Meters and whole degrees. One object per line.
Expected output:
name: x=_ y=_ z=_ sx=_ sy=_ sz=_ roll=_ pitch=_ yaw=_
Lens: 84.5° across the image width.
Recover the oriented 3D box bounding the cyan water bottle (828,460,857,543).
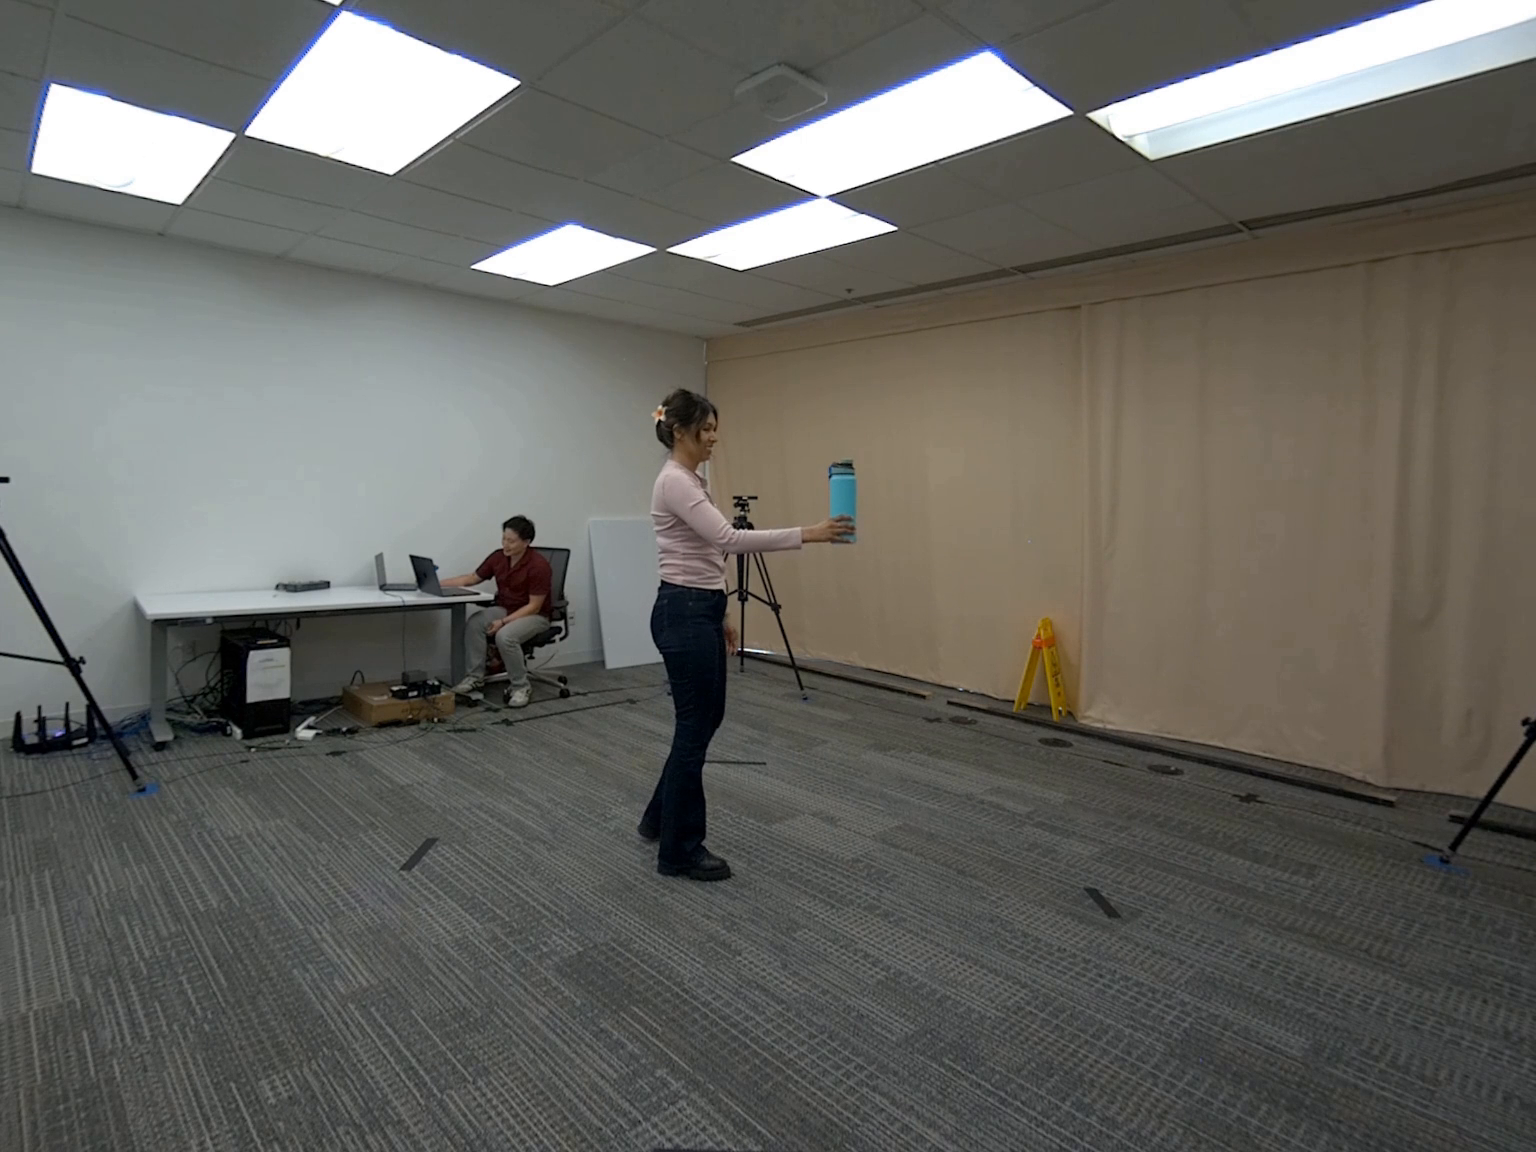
cyan water bottle: x=0.241 y=-0.254 z=2.821 sx=0.092 sy=0.283 sz=0.092 roll=0 pitch=-1 yaw=-1
